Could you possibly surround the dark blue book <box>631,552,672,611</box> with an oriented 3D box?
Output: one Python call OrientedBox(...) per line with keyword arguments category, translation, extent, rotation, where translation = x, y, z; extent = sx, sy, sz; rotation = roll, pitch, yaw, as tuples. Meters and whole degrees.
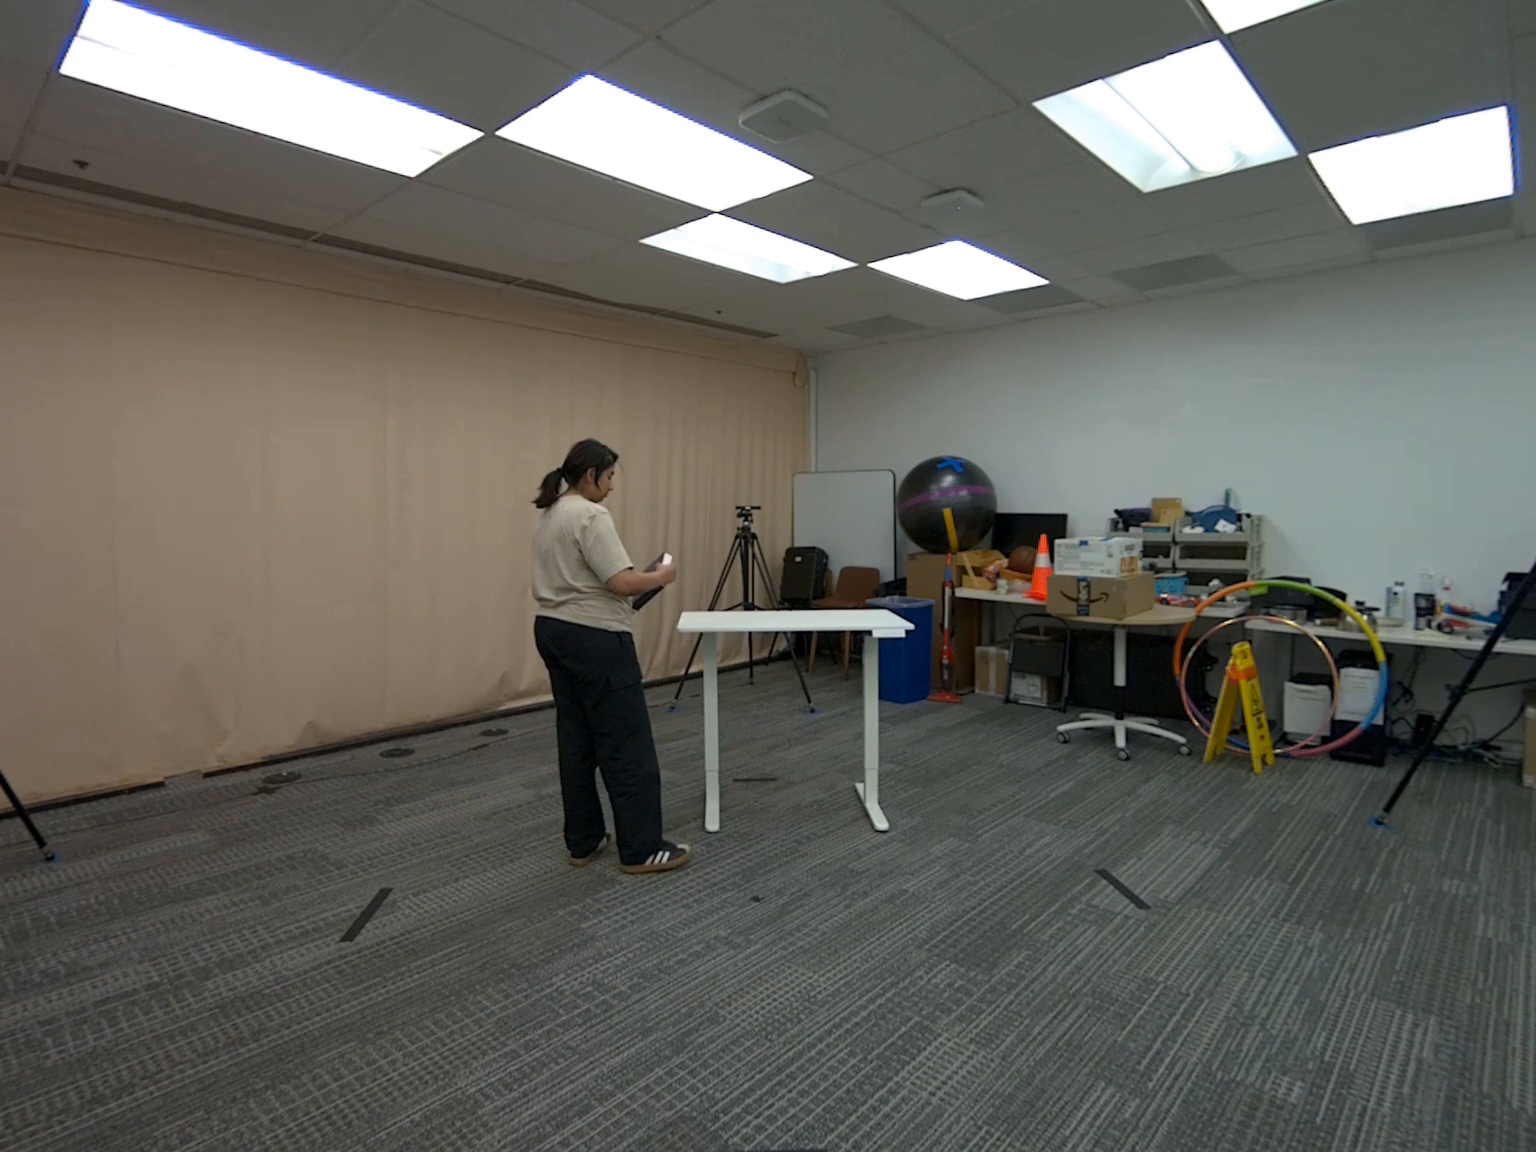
OrientedBox(category="dark blue book", translation=(-0.487, 0.024, 3.496), extent=(0.044, 0.165, 0.247), rotation=(28, -39, -17))
